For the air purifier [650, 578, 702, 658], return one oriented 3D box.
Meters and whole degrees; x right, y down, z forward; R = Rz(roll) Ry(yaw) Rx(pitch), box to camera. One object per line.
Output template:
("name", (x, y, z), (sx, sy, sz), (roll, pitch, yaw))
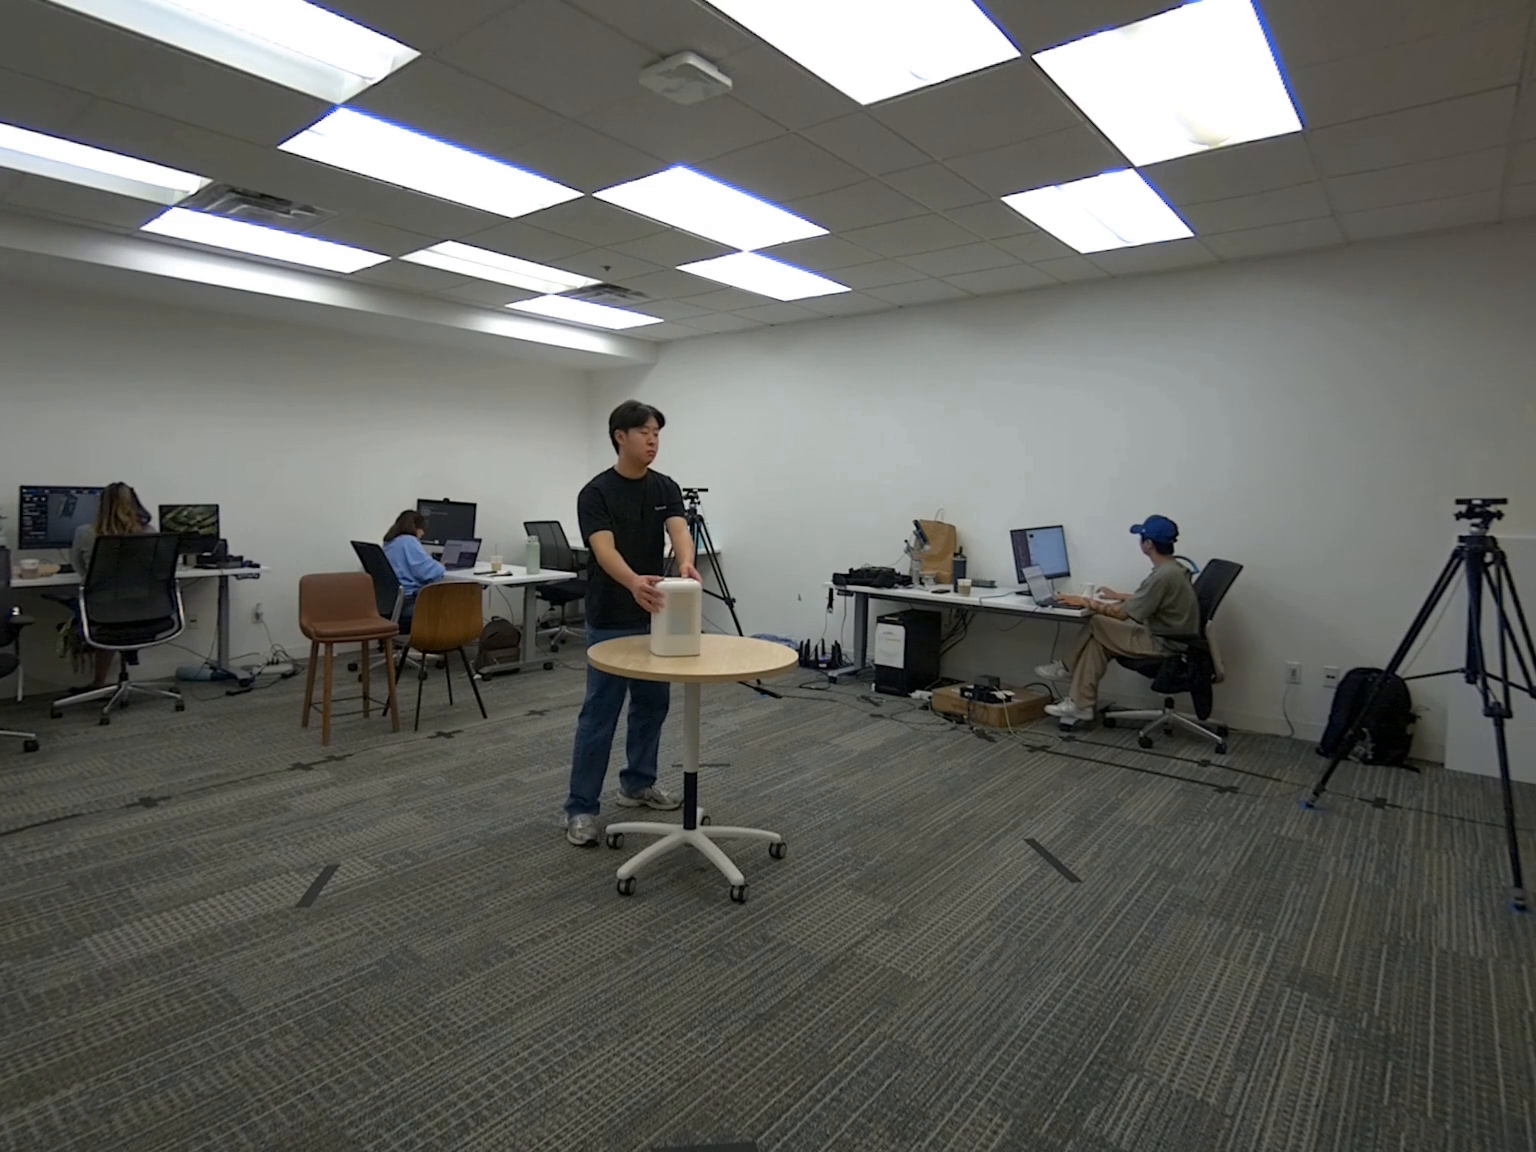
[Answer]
("air purifier", (-0.345, 0.146, 3.069), (0.170, 0.264, 0.173), (2, 4, -8))
